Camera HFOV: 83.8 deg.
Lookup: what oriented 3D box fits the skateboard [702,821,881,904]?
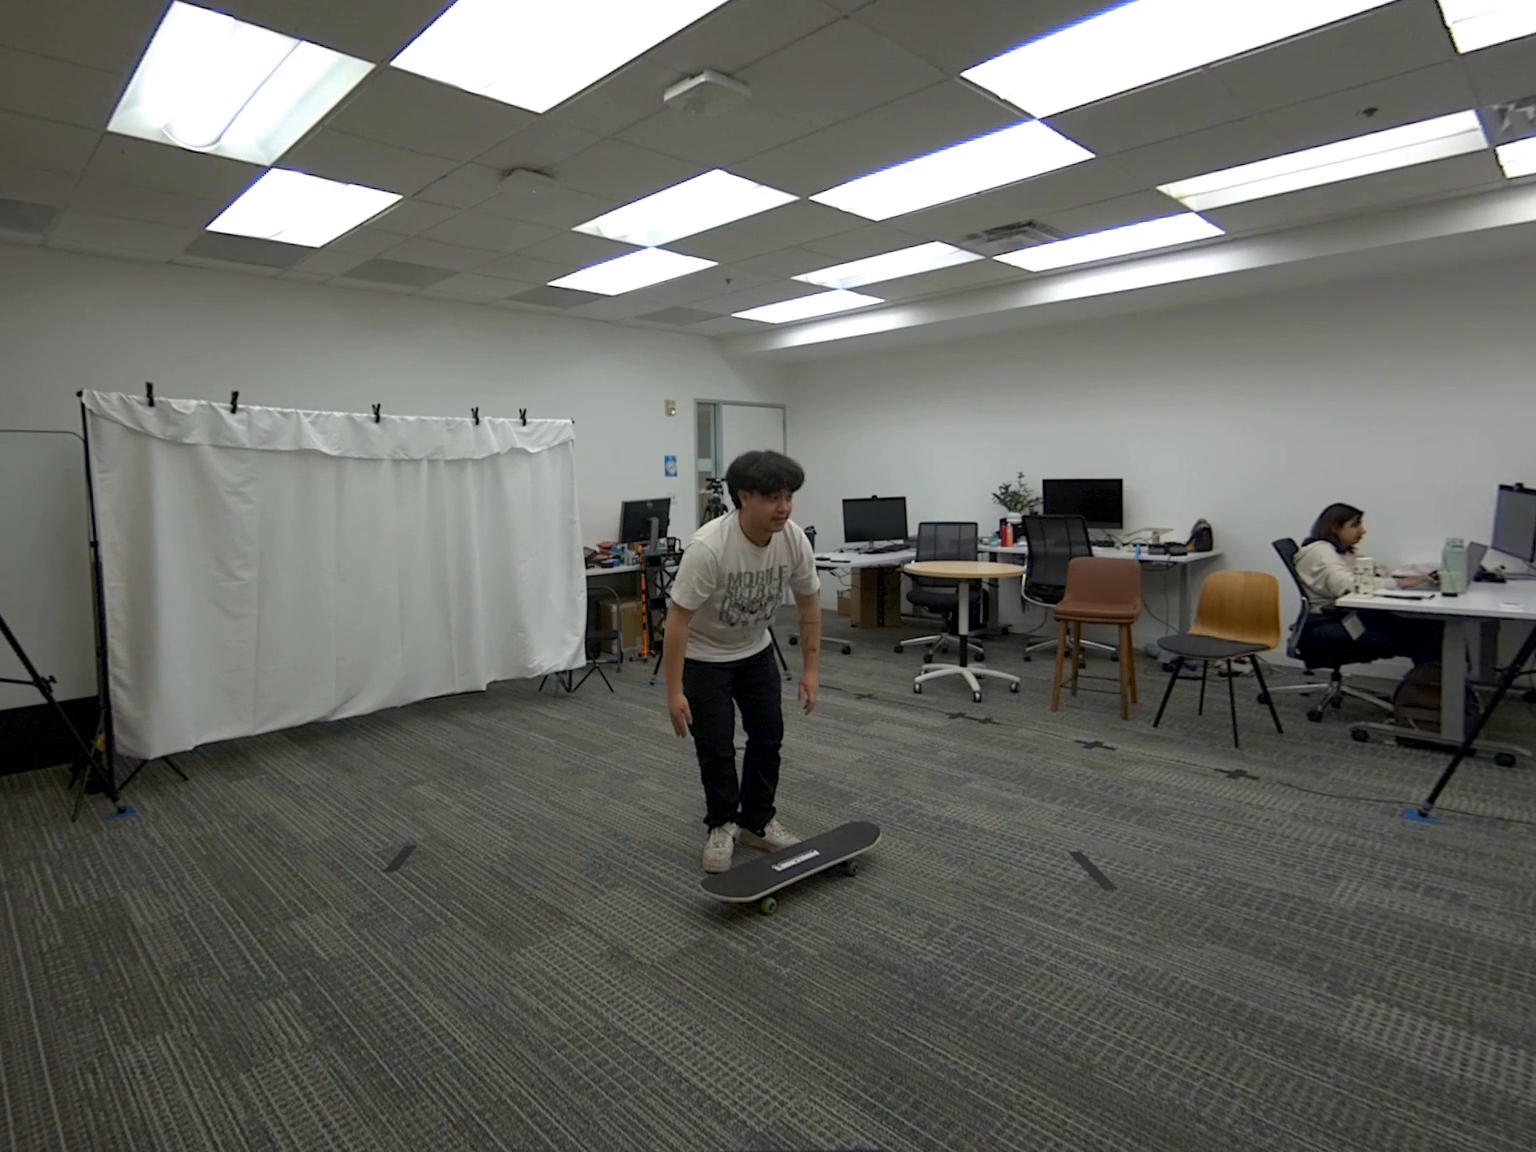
[{"bbox_3d":[0.105,0.998,2.925,0.765,0.110,0.199,-7,9,-41],"label":"skateboard"}]
